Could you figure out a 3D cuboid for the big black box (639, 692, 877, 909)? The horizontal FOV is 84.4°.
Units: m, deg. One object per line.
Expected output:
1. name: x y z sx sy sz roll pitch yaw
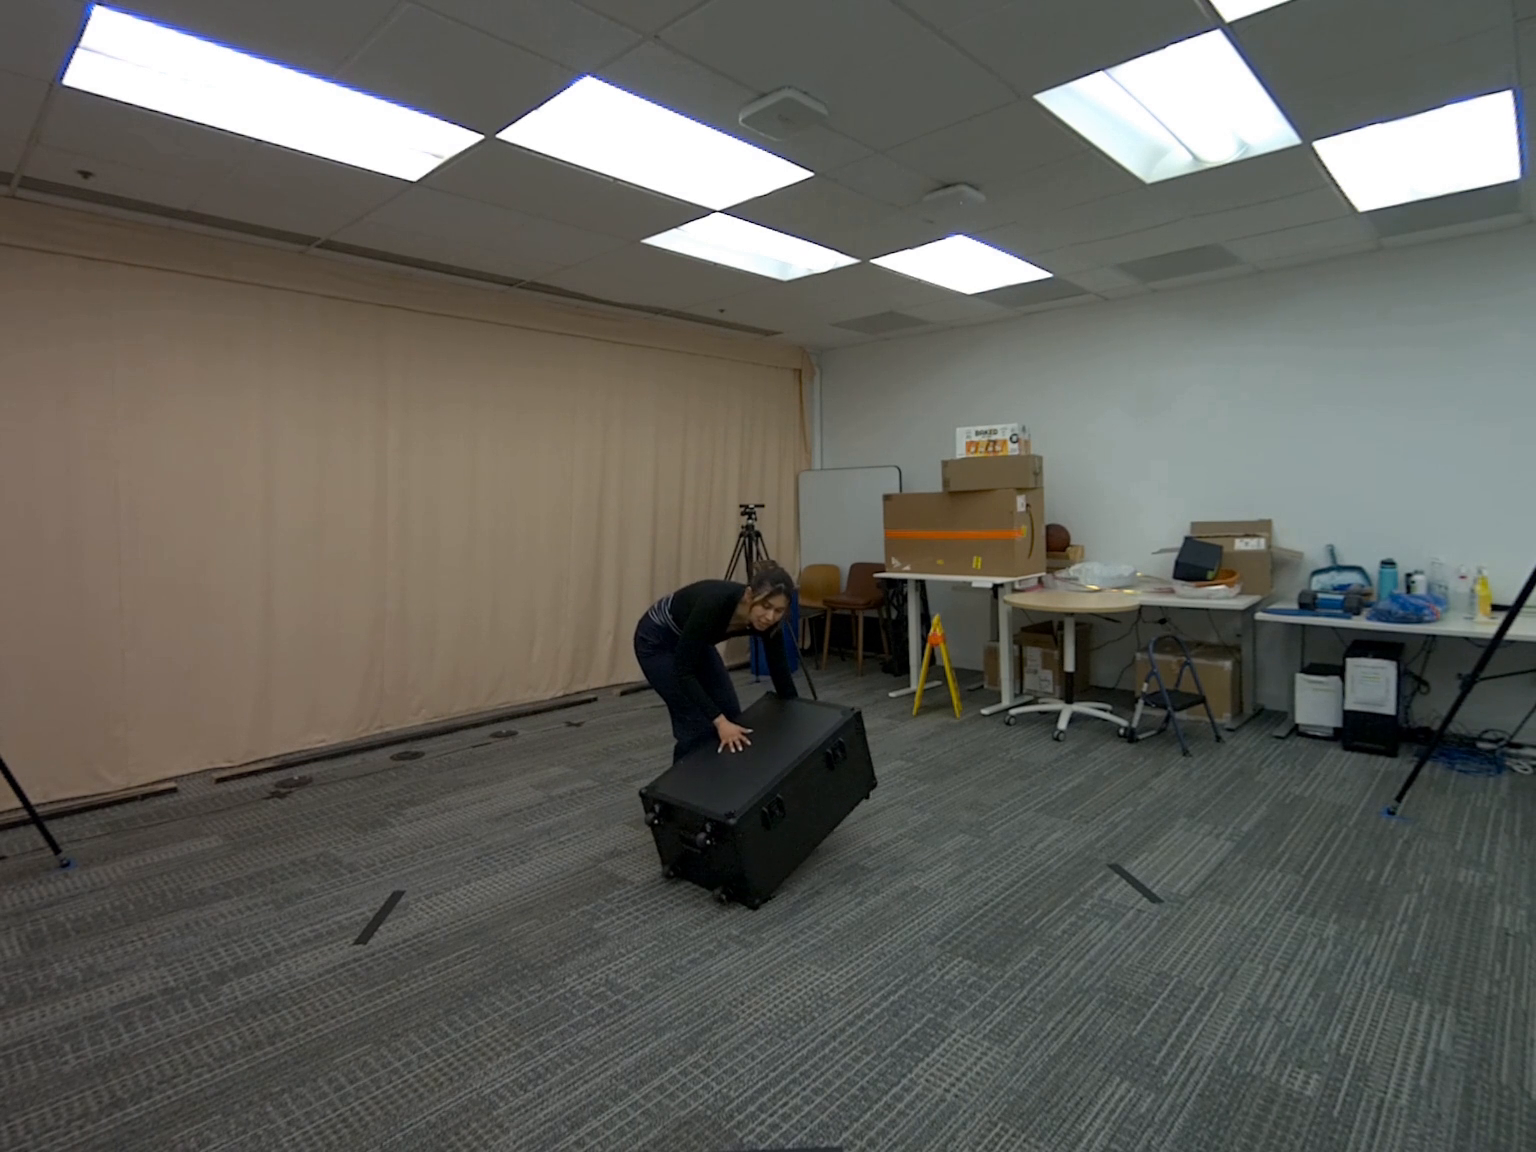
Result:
1. big black box: 0.009 0.818 3.274 0.538 0.391 0.845 3 25 45
